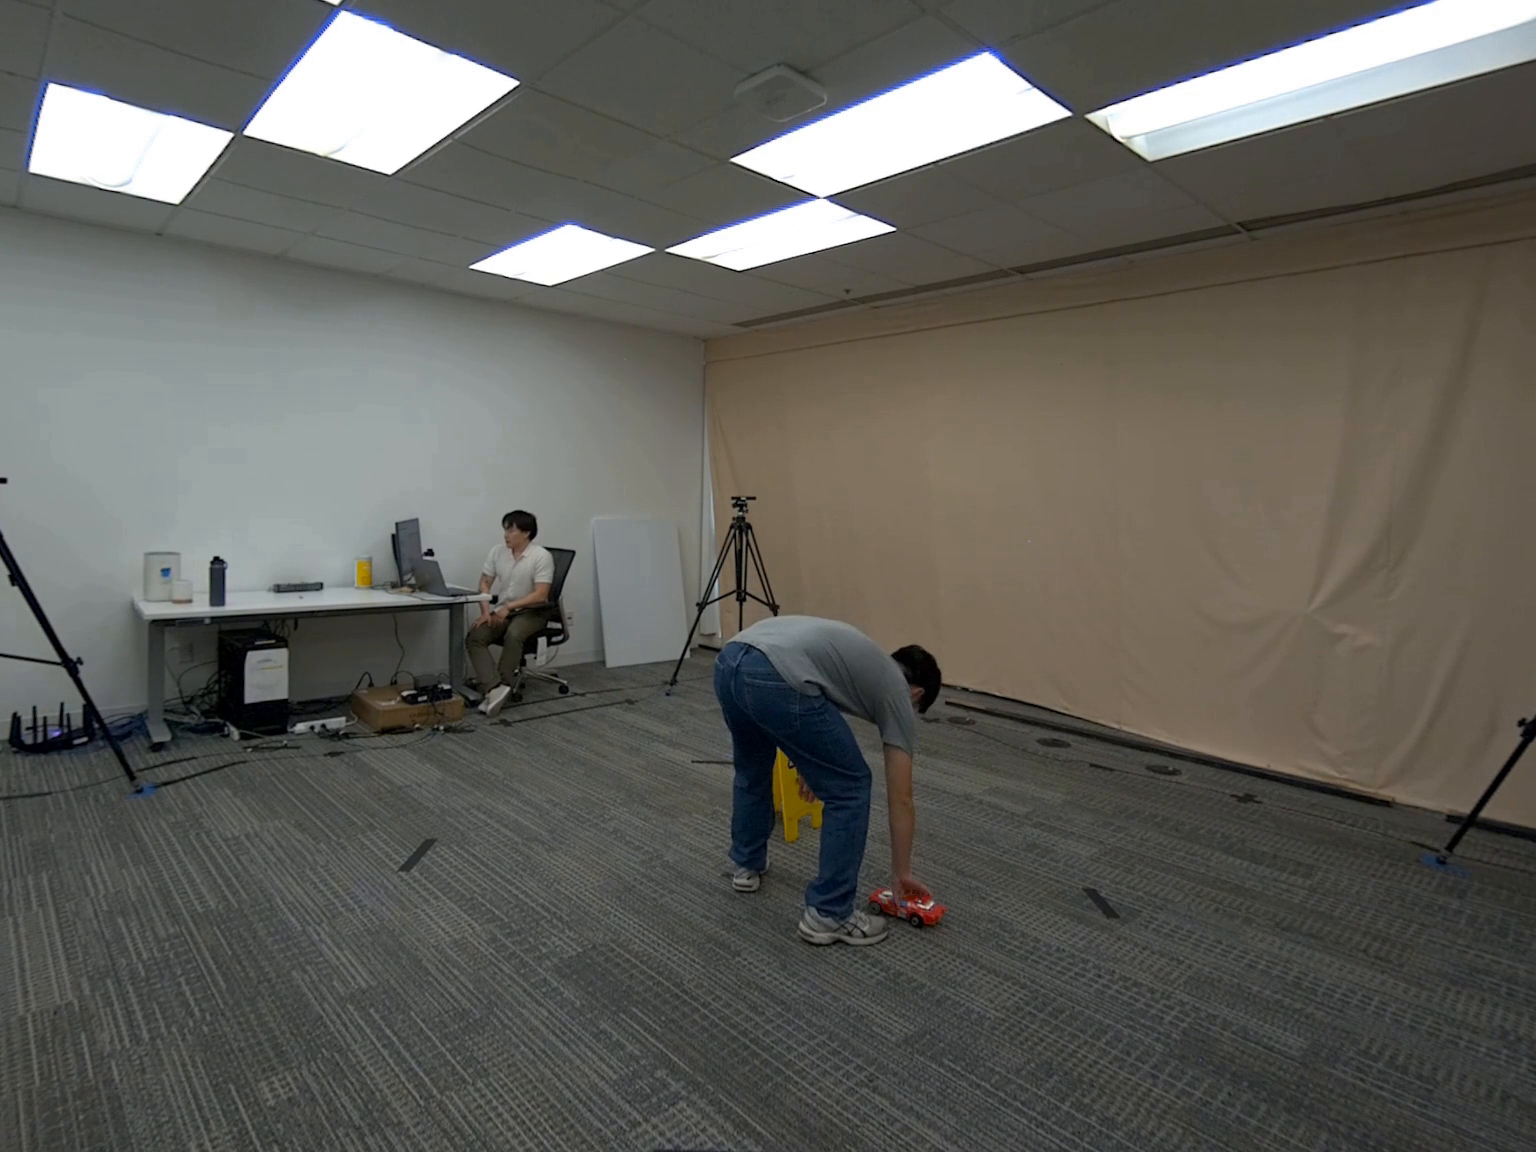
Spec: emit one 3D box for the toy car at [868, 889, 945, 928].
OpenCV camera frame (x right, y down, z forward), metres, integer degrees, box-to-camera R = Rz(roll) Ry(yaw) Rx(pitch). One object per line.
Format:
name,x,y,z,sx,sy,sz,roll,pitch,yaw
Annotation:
toy car,0.472,1.115,2.821,0.259,0.083,0.127,-7,-3,35
